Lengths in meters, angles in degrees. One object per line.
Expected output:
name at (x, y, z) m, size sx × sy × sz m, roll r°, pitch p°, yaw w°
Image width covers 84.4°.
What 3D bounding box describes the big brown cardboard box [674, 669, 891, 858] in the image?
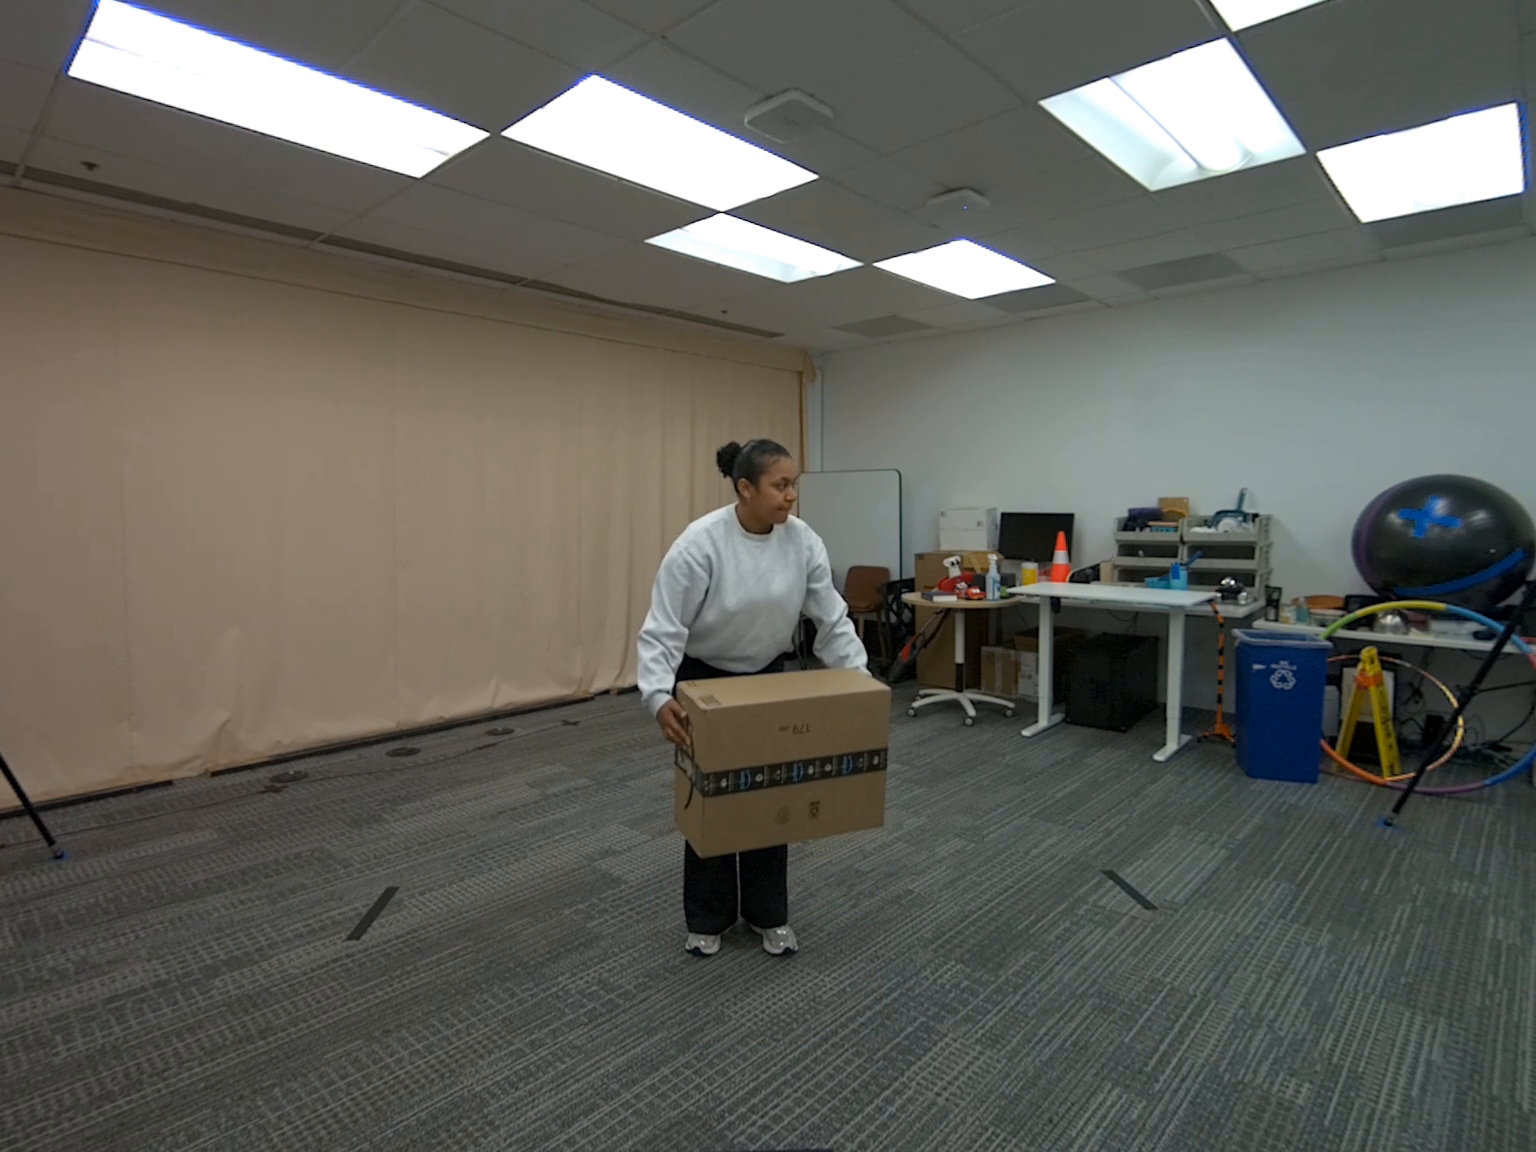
big brown cardboard box at (0.038, 0.510, 2.374) m, size 0.577 × 0.415 × 0.239 m, roll -1°, pitch 9°, yaw -21°
